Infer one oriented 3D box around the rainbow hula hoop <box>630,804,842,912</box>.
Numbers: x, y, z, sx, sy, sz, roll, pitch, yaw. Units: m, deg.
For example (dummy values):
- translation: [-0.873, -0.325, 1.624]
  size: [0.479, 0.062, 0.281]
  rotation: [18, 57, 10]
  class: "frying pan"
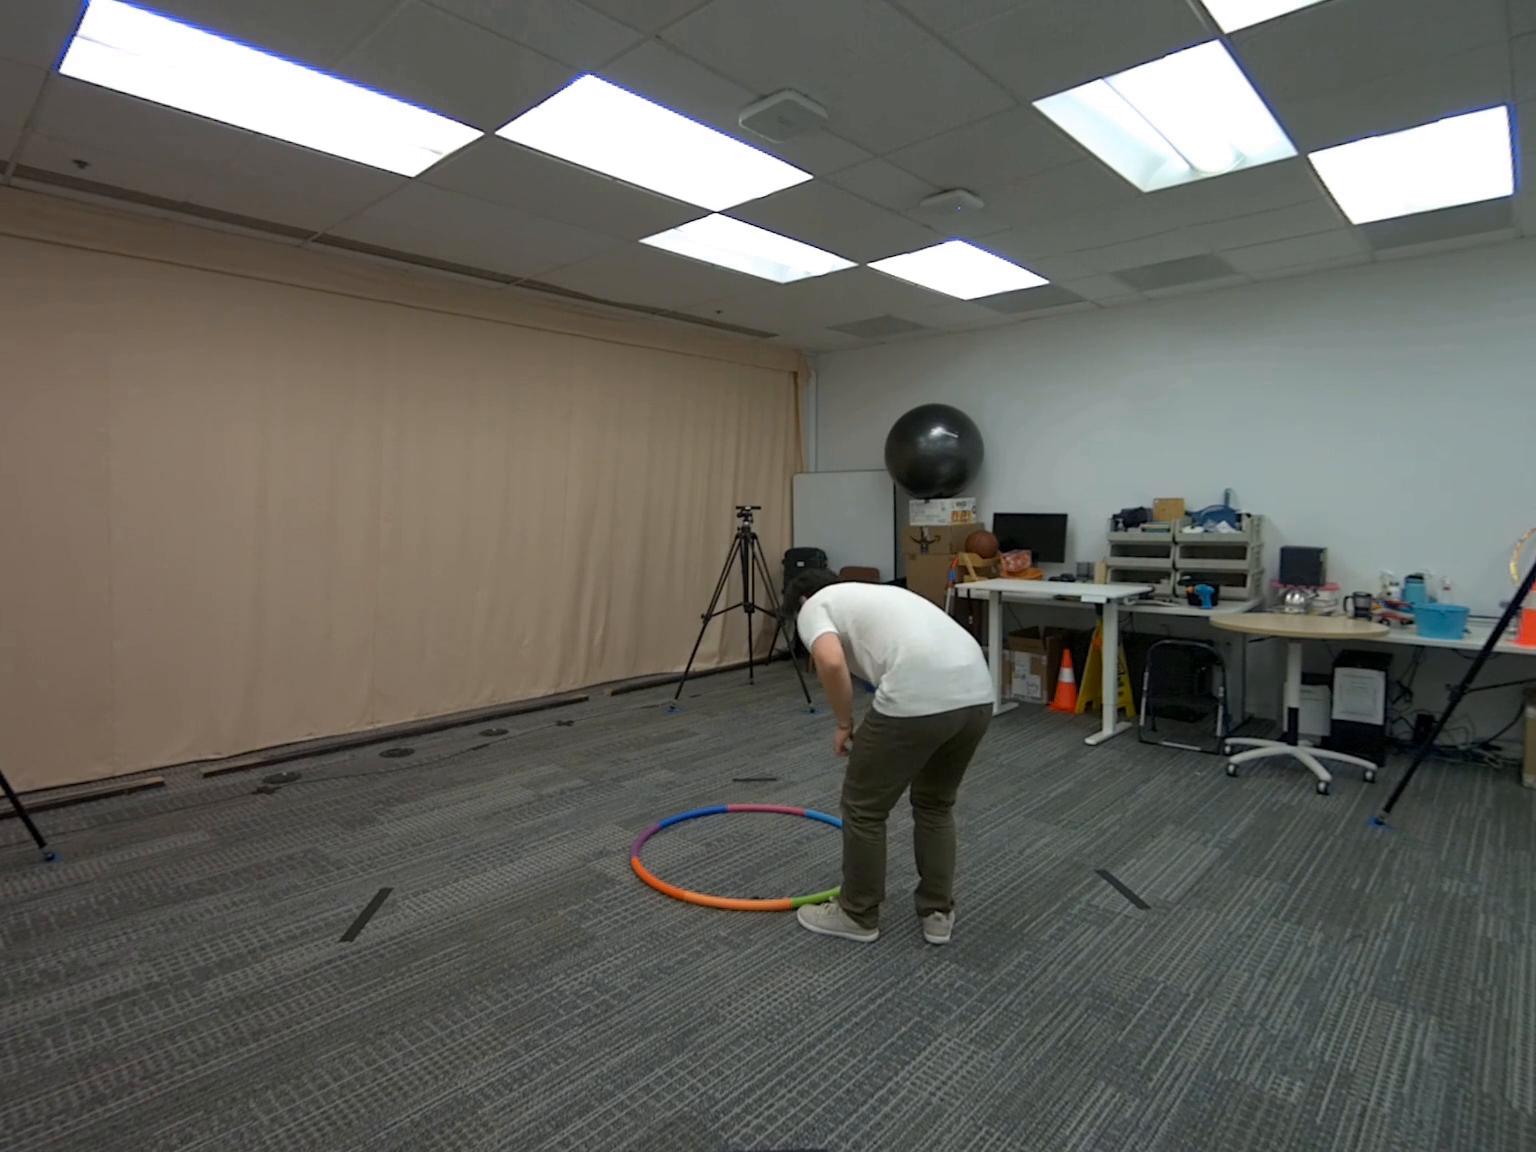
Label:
- translation: [-0.055, 1.083, 3.368]
  size: [0.978, 0.035, 0.982]
  rotation: [0, 5, -2]
  class: "rainbow hula hoop"
